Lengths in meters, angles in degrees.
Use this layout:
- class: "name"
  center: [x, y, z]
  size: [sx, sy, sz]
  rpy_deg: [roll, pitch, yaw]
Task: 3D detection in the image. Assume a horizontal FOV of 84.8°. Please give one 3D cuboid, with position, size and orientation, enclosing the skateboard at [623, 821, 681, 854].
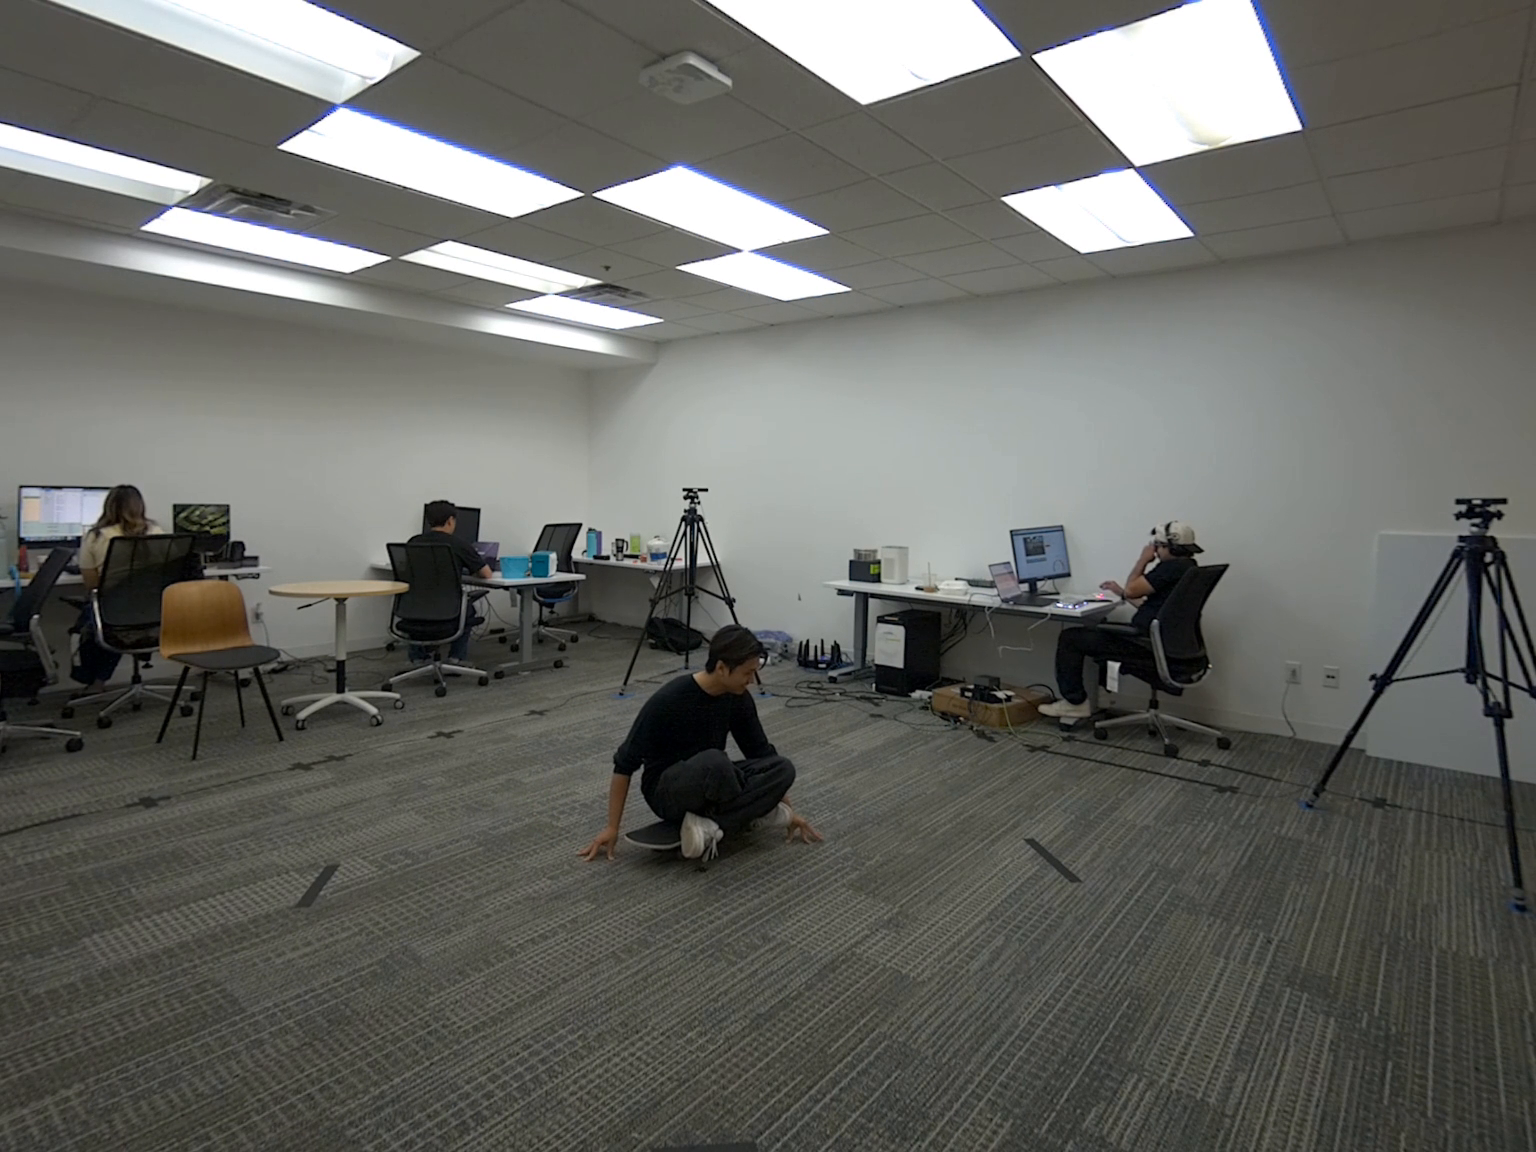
- class: "skateboard"
  center: [-0.246, 0.996, 3.374]
  size: [0.200, 0.110, 0.763]
  rpy_deg: [5, 7, 37]
